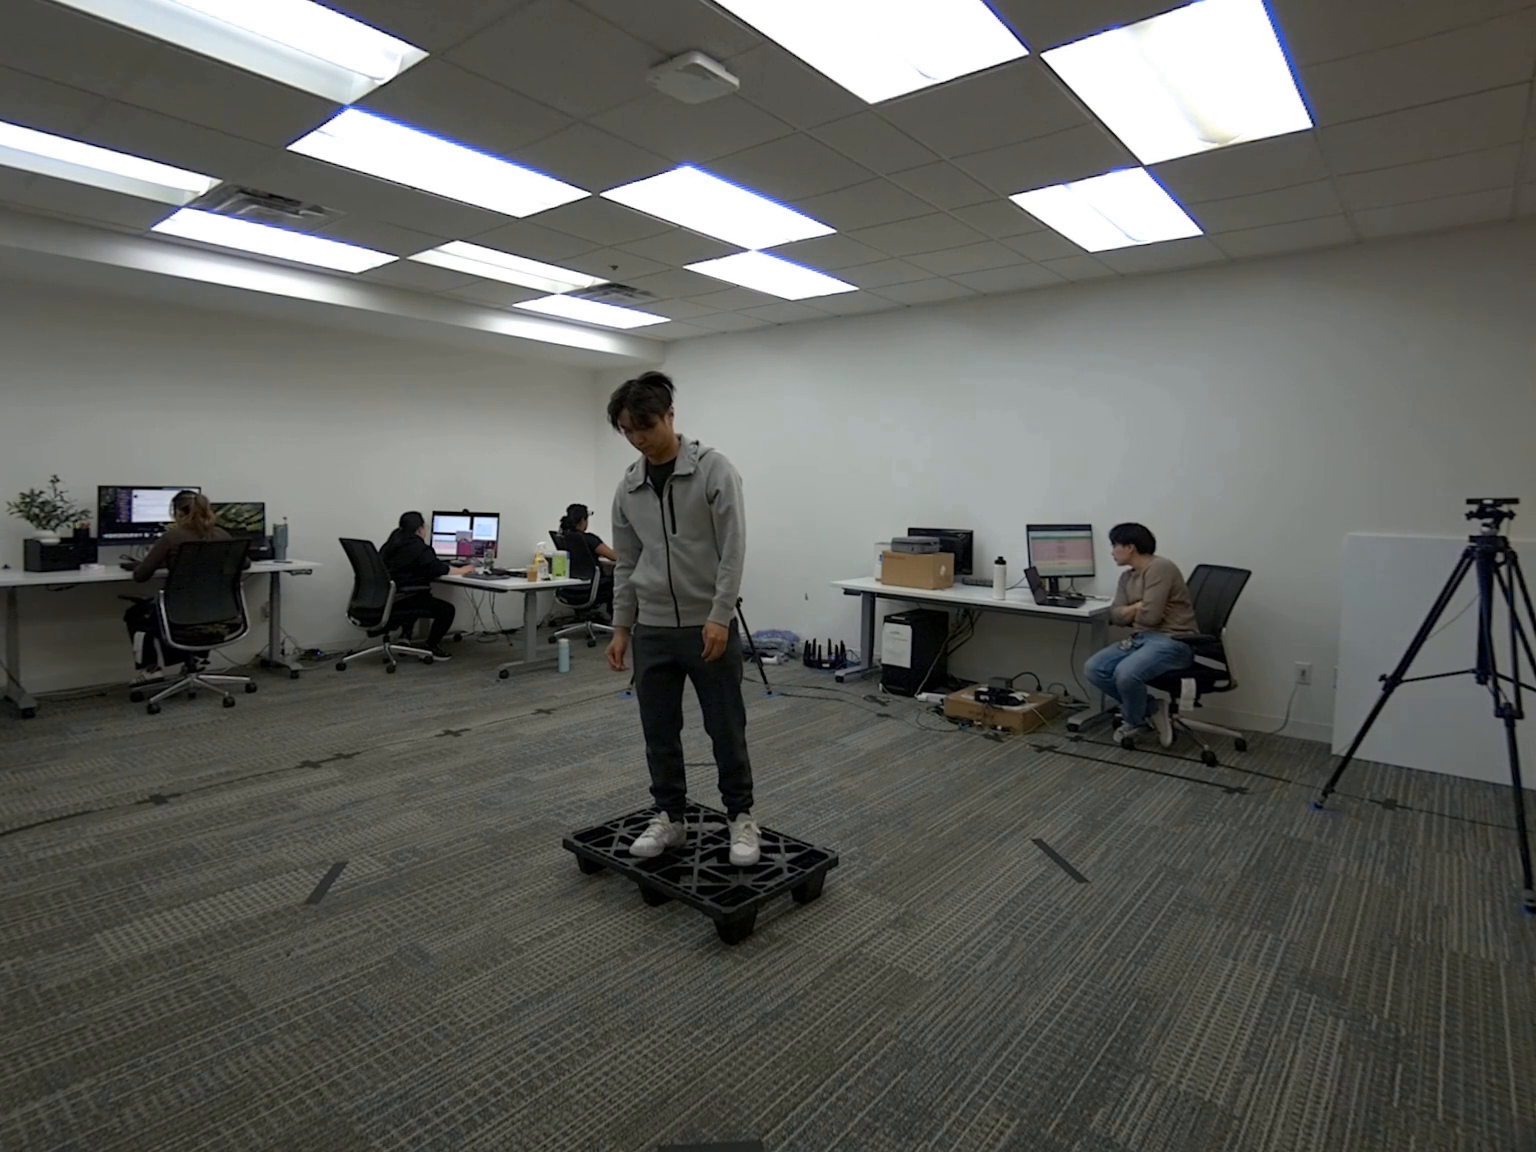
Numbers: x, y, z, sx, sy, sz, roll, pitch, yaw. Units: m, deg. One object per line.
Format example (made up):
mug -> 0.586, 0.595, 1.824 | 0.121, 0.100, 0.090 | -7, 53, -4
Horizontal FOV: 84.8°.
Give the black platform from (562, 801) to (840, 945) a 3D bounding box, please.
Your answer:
black platform -> -0.255, 1.008, 3.000 | 0.833, 0.143, 0.587 | 6, 7, 41
